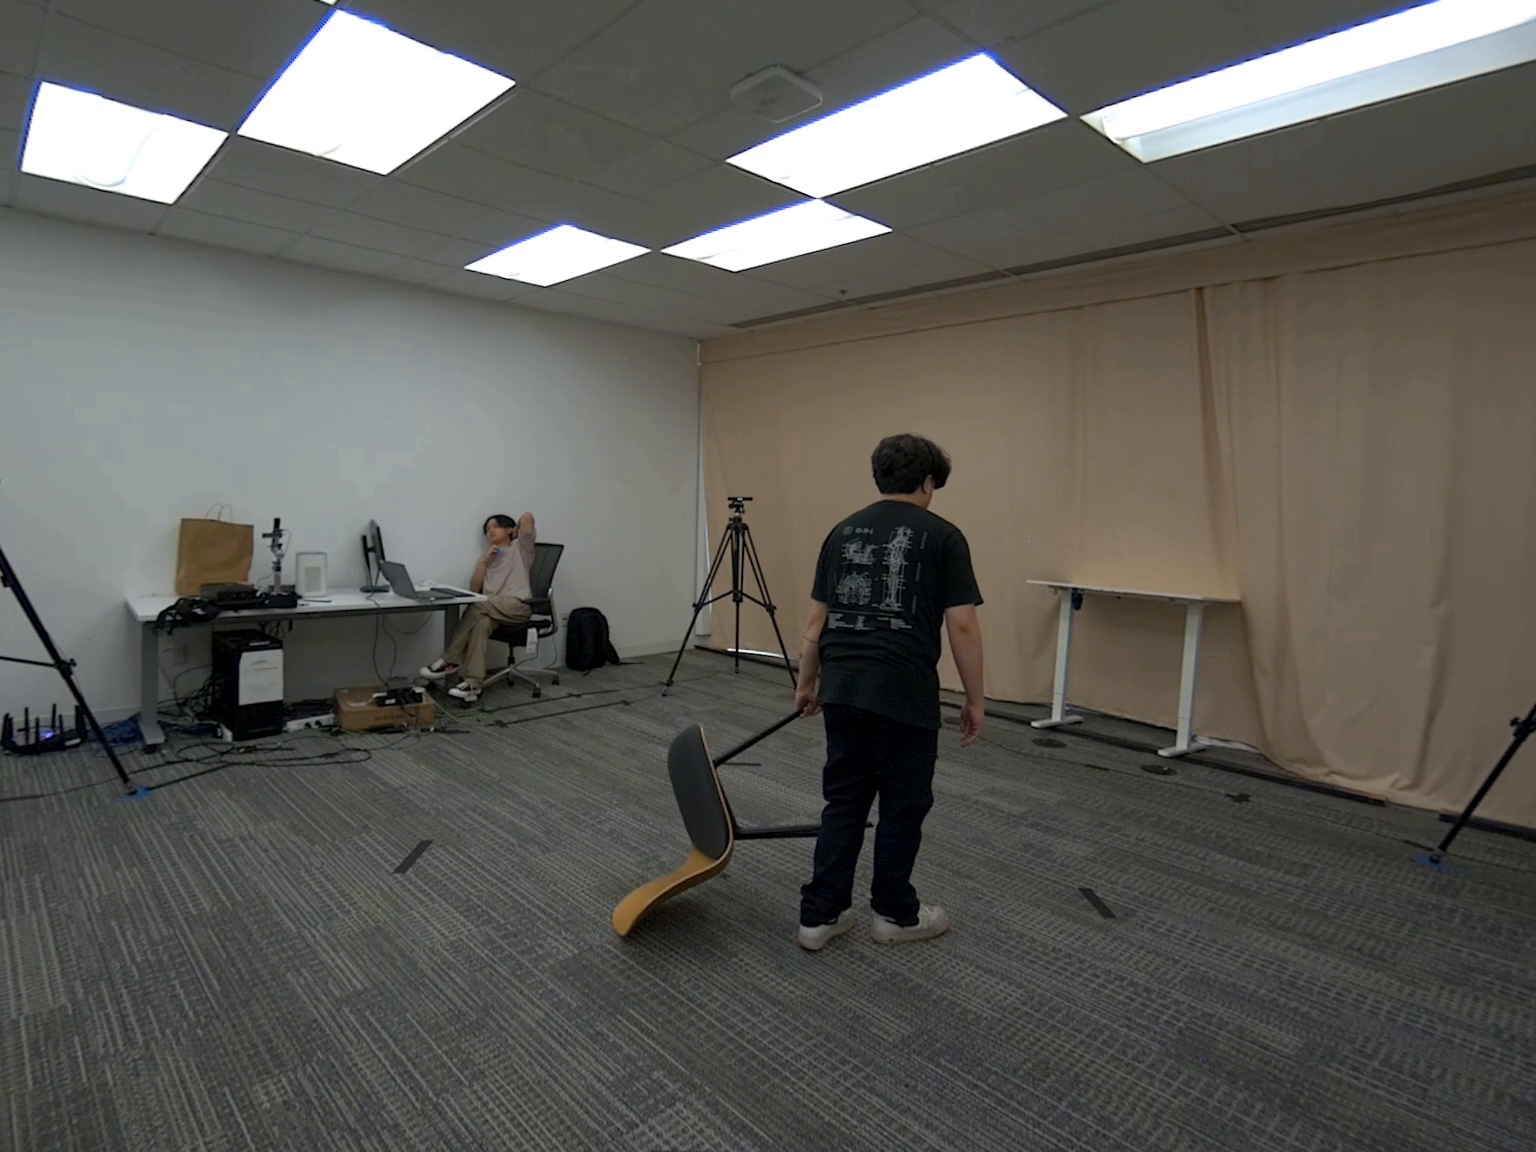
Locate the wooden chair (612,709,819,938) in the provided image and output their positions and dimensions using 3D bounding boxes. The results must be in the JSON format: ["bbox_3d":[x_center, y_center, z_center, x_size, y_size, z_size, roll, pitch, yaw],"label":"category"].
[{"bbox_3d":[-0.188,0.773,2.847,0.866,0.531,0.477,-17,-15,-24],"label":"wooden chair"}]
